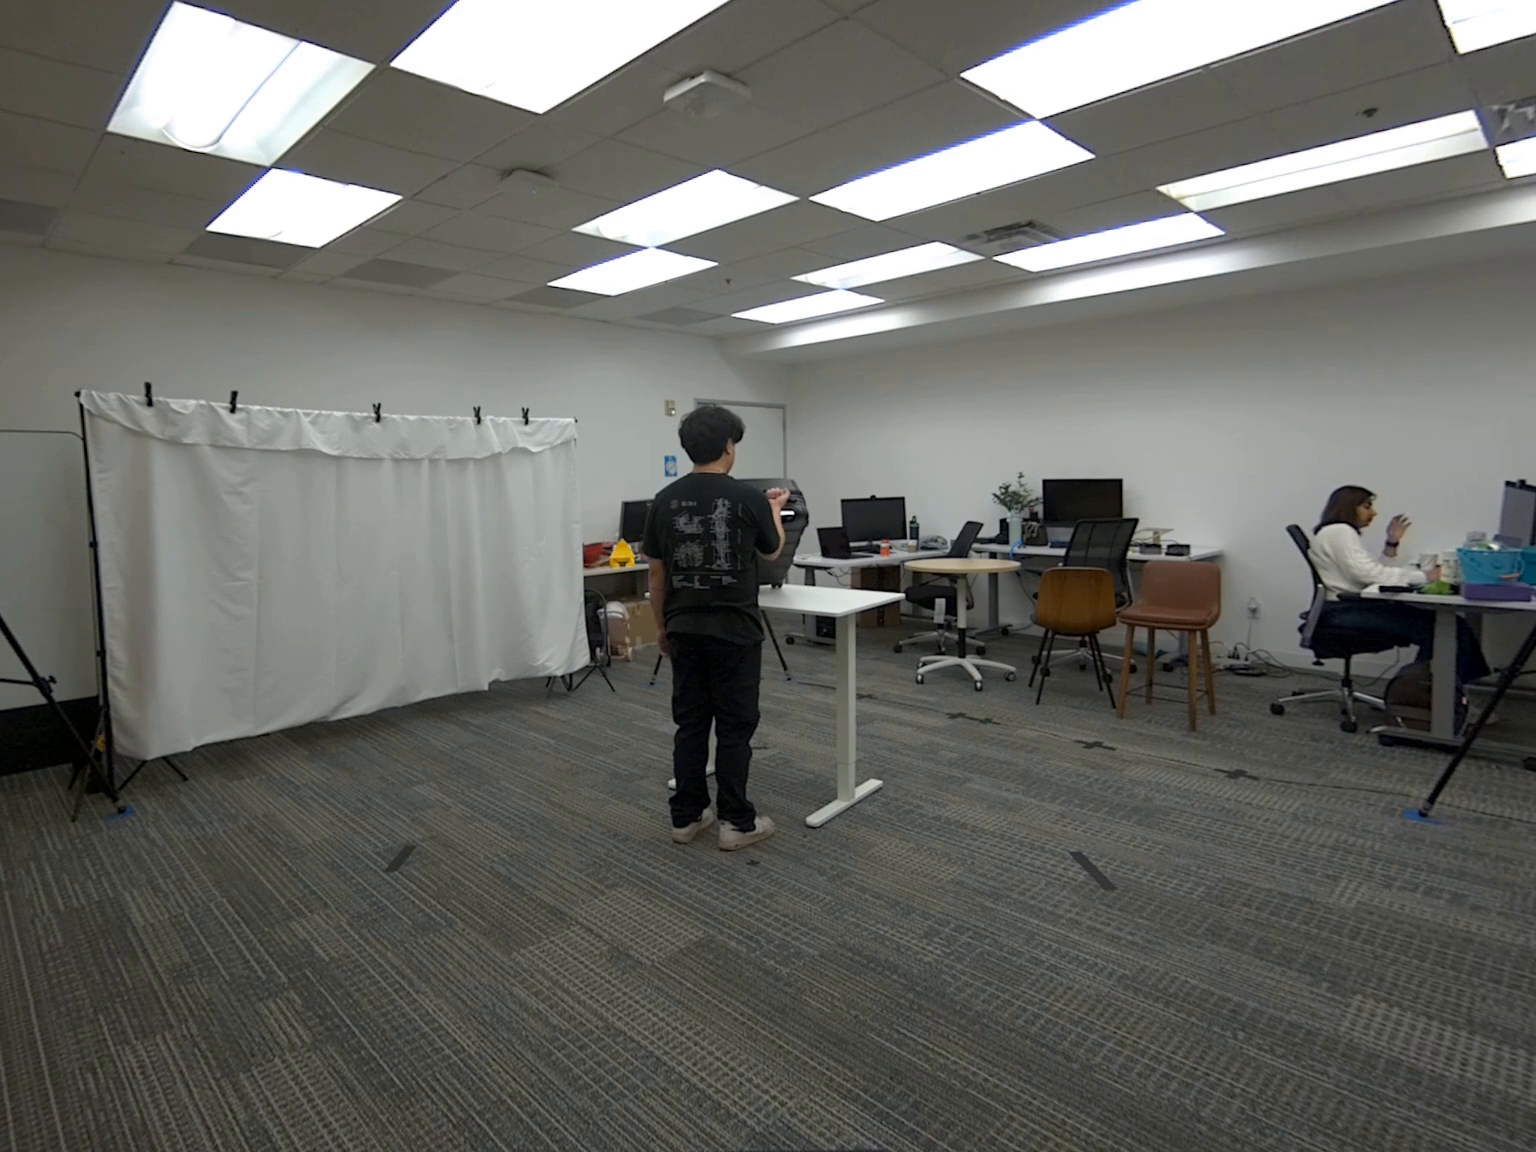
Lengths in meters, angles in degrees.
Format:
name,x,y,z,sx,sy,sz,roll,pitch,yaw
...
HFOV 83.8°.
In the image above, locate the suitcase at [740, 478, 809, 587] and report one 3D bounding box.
name,x,y,z,sx,sy,sz,roll,pitch,yaw
suitcase,-0.048,-0.184,3.831,0.369,0.257,0.541,-2,-40,-21
